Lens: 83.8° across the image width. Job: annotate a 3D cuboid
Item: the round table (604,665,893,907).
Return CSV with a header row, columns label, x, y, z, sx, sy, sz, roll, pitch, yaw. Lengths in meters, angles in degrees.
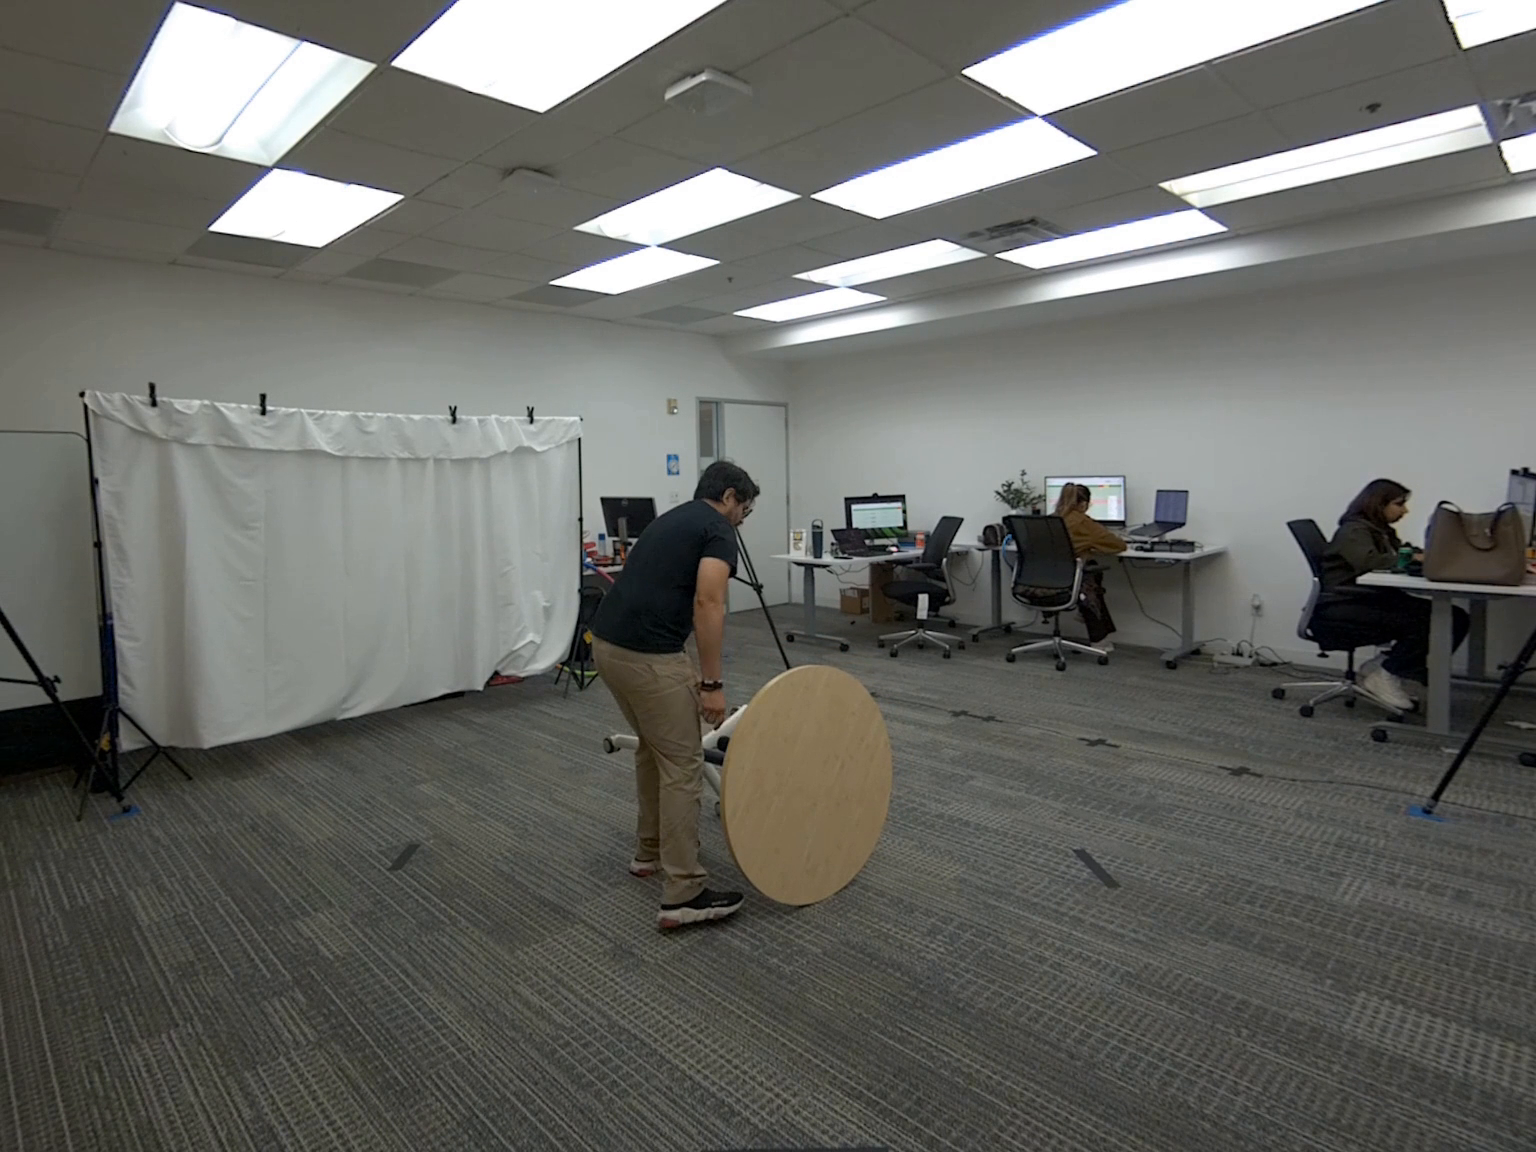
label,x,y,z,sx,sy,sz,roll,pitch,yaw
round table,-0.102,0.679,3.133,0.764,0.784,0.808,-5,2,-40
